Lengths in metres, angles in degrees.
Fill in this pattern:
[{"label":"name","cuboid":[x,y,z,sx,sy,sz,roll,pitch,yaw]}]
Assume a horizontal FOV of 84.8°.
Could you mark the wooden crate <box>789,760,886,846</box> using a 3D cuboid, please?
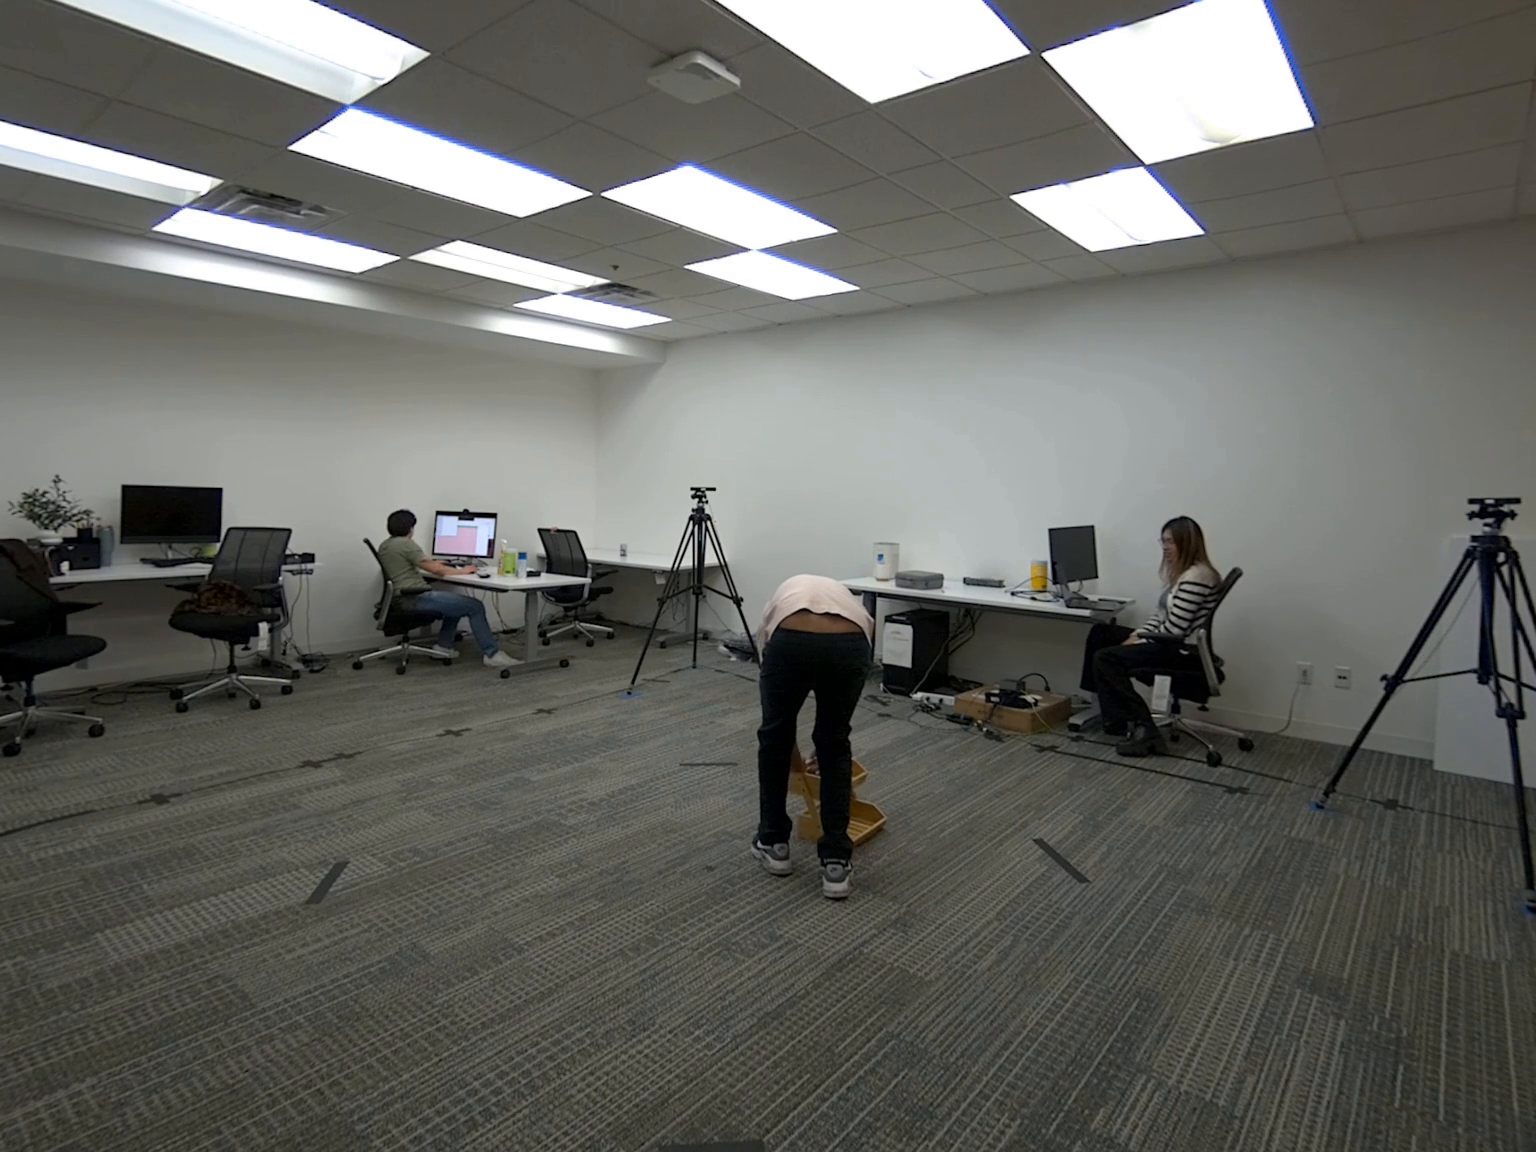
[{"label":"wooden crate","cuboid":[0.280,0.905,3.468,0.311,0.272,0.315,4,5,34]}]
